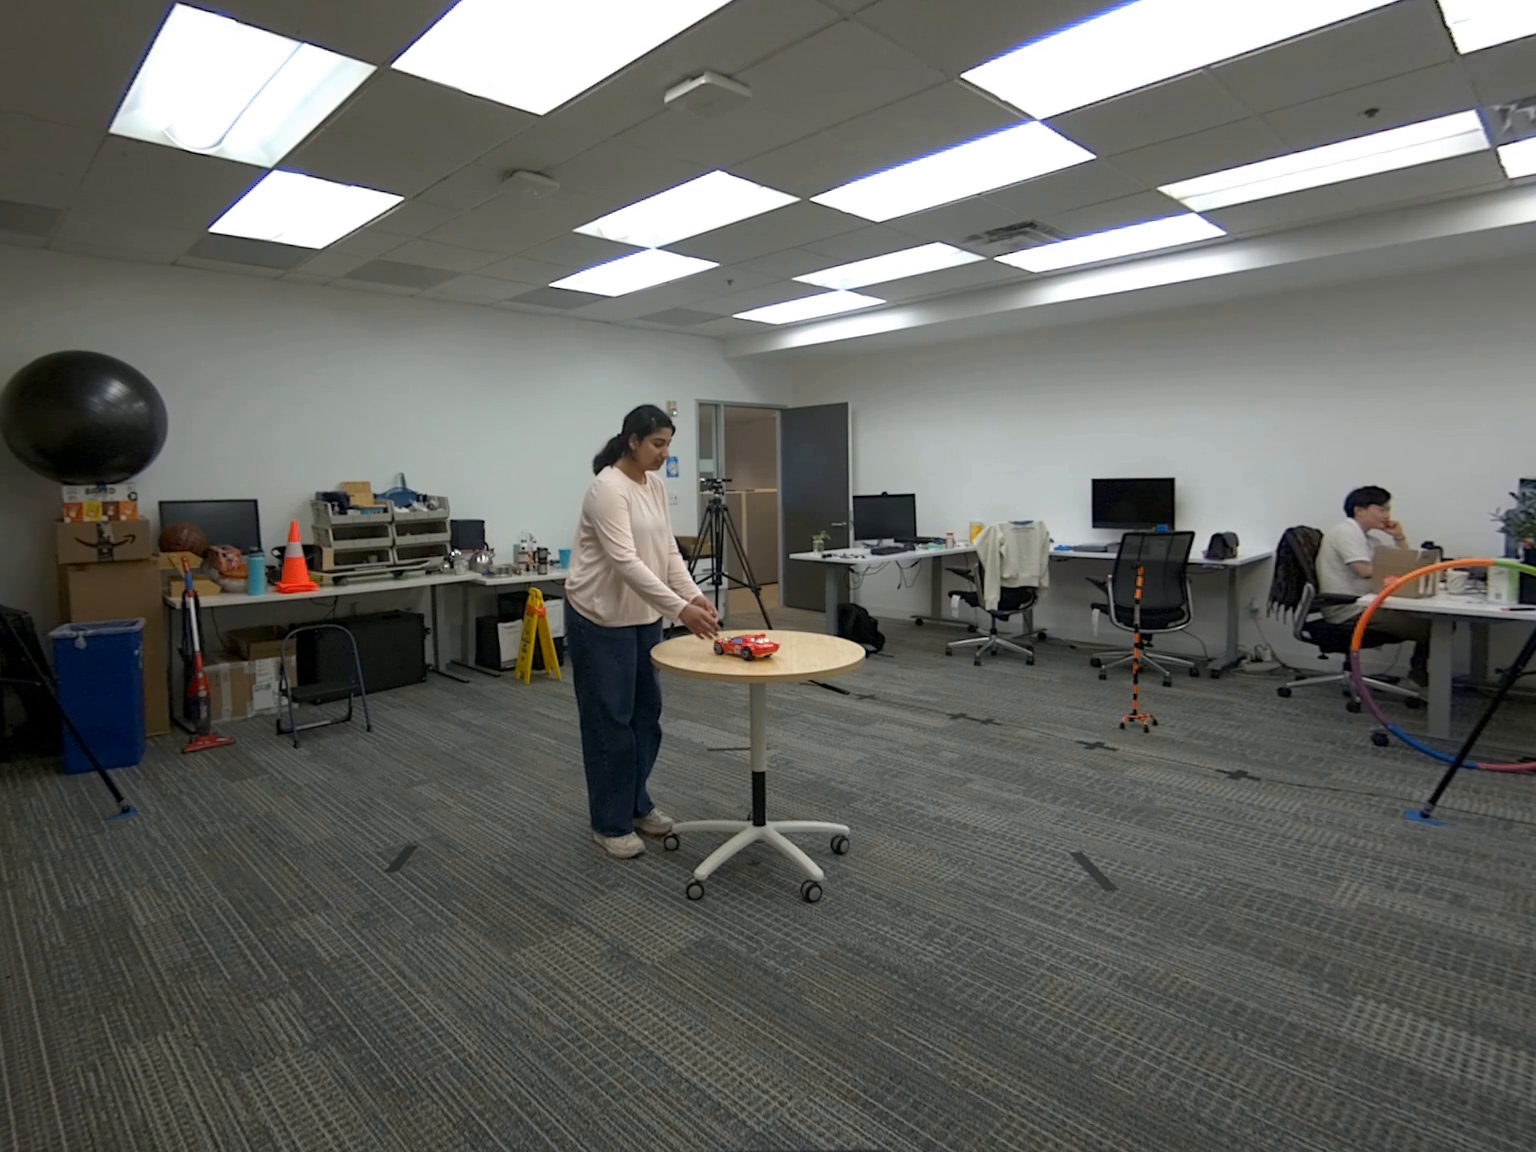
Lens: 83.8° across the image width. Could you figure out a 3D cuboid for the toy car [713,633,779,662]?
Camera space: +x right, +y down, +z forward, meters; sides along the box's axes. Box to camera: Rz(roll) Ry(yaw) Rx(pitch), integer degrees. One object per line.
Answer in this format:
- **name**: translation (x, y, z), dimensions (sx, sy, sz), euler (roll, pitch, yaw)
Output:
- **toy car**: translation (-0.072, 0.246, 2.954), dimensions (0.127, 0.083, 0.260), euler (-4, -4, -44)
